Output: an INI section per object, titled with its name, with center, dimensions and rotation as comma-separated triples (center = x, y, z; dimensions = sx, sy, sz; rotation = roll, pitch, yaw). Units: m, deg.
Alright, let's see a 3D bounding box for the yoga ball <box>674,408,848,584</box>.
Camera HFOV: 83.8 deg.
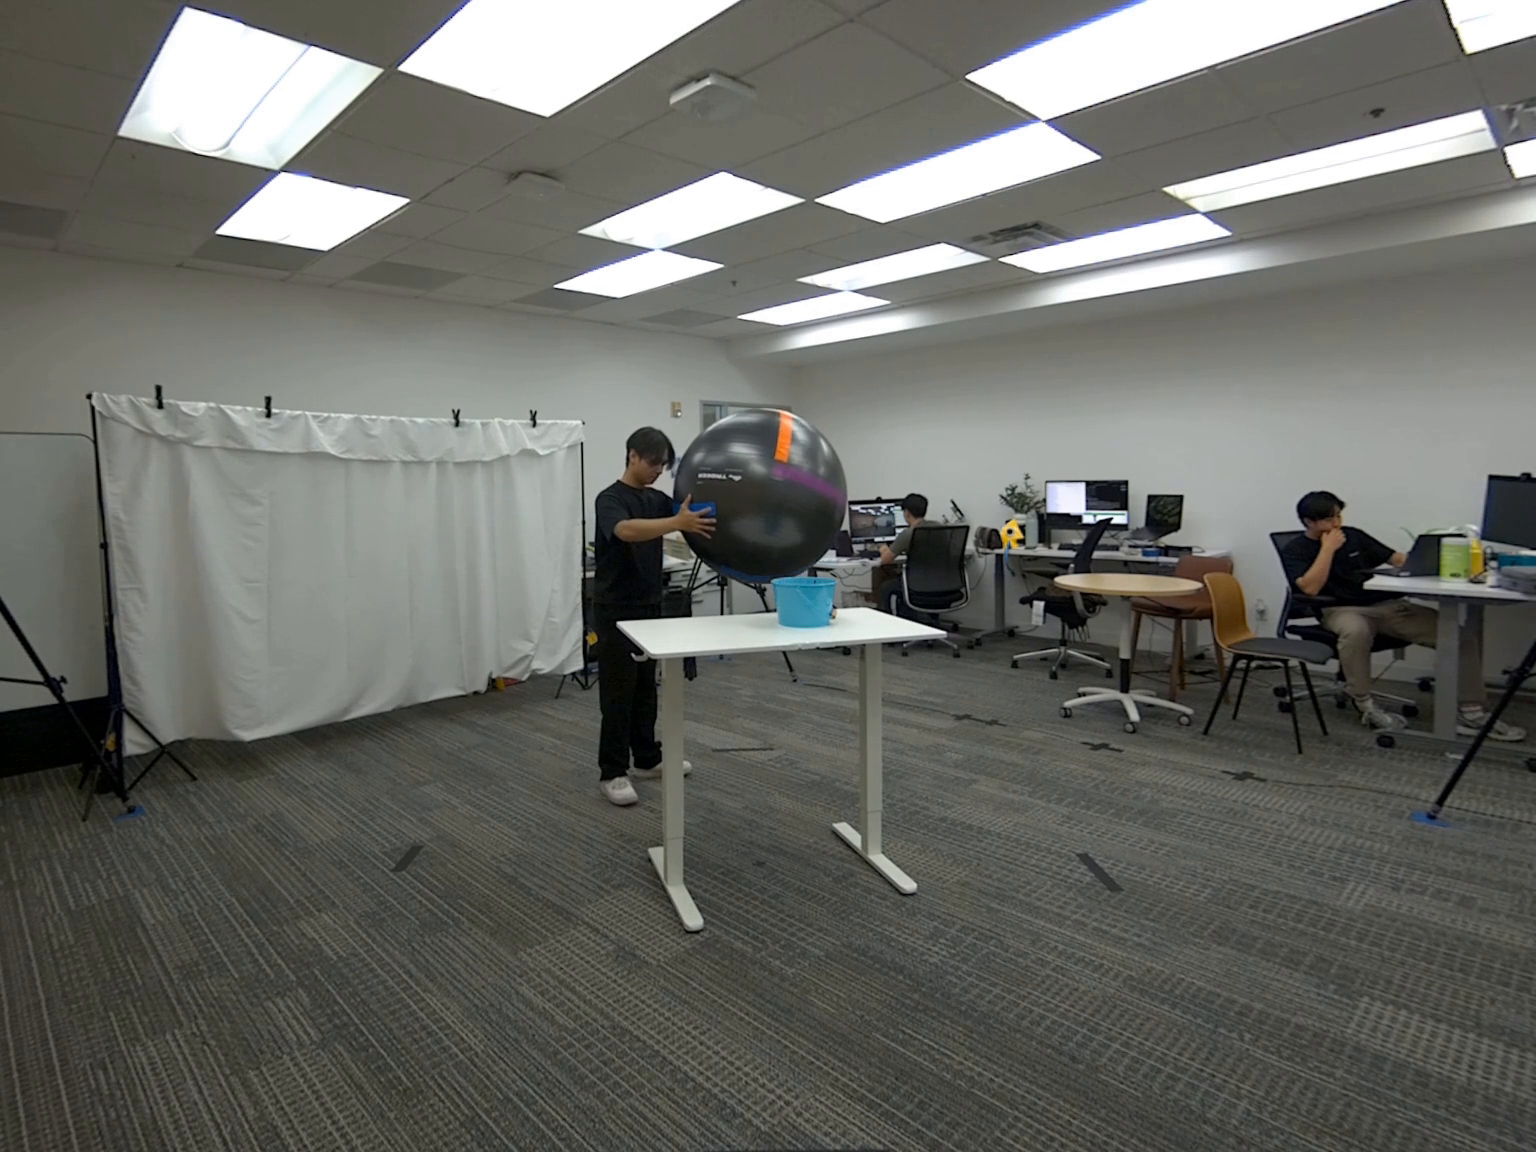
[yoga ball]
center = -0.038, -0.341, 3.726
dimensions = 0.757, 0.755, 0.762
rotation = -1, 5, -2
